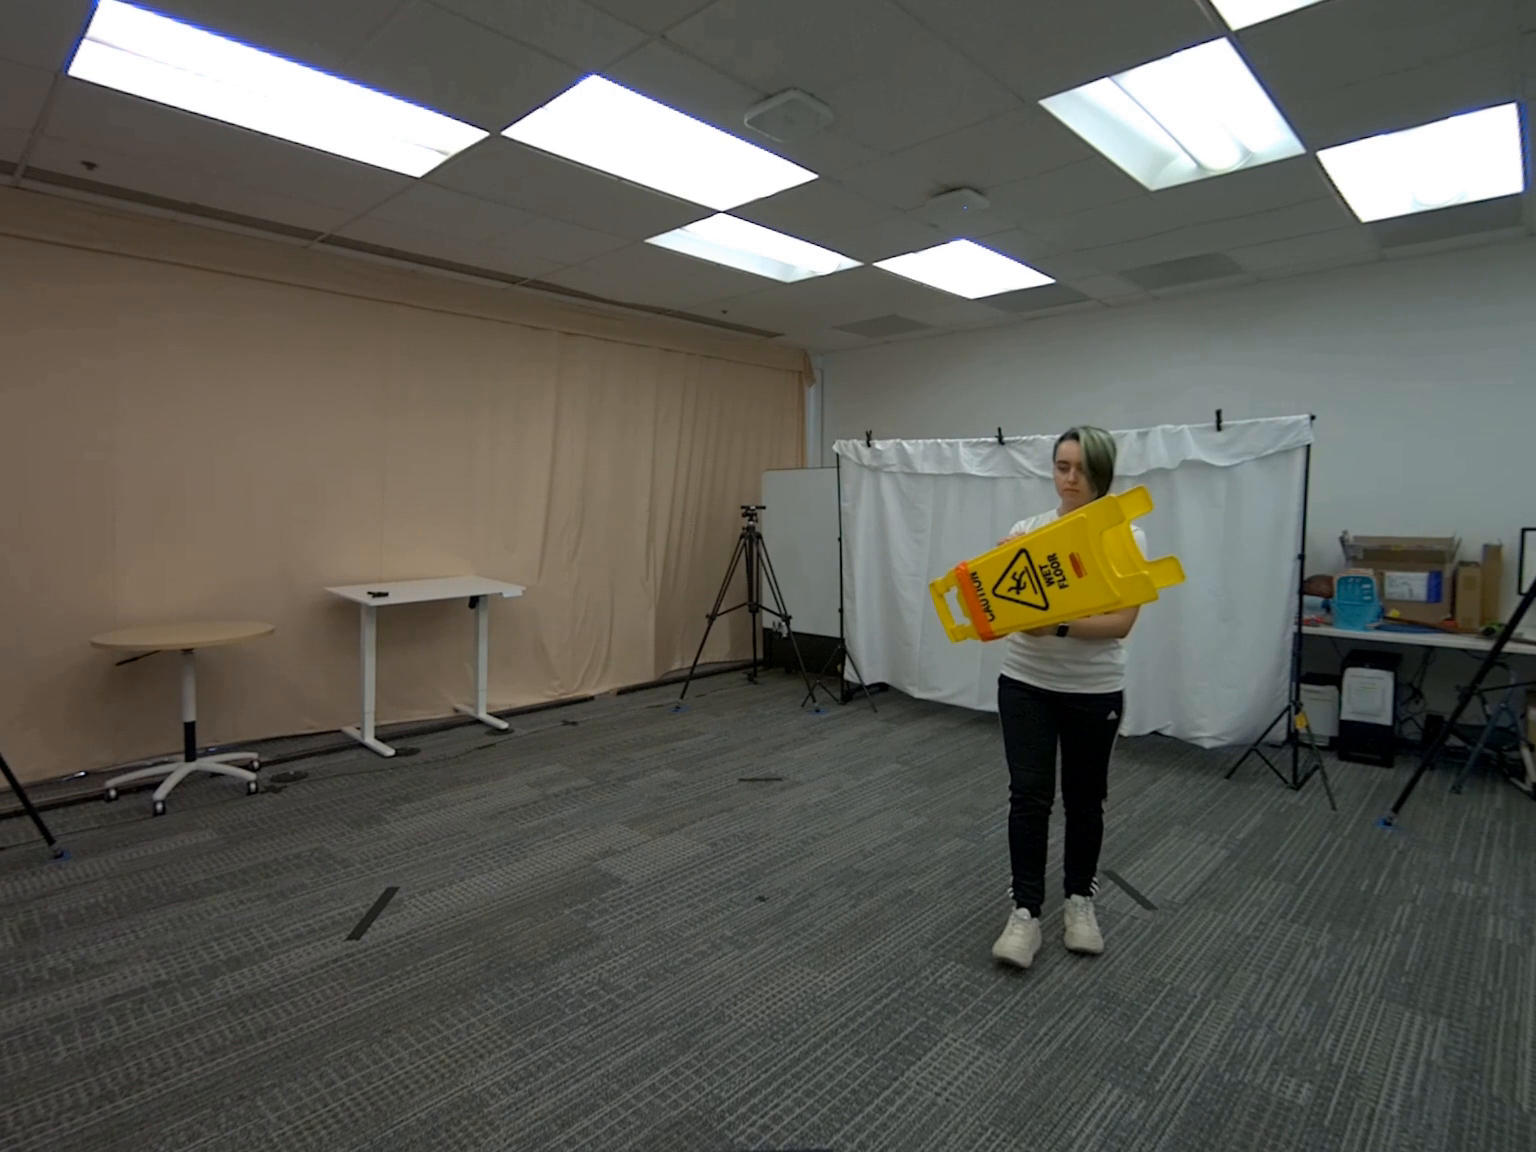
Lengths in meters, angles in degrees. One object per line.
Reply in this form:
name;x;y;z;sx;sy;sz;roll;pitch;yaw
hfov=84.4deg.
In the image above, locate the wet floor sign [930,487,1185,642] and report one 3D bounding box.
wet floor sign;0.763;0.008;2.366;0.659;0.284;0.282;-26;-9;39
